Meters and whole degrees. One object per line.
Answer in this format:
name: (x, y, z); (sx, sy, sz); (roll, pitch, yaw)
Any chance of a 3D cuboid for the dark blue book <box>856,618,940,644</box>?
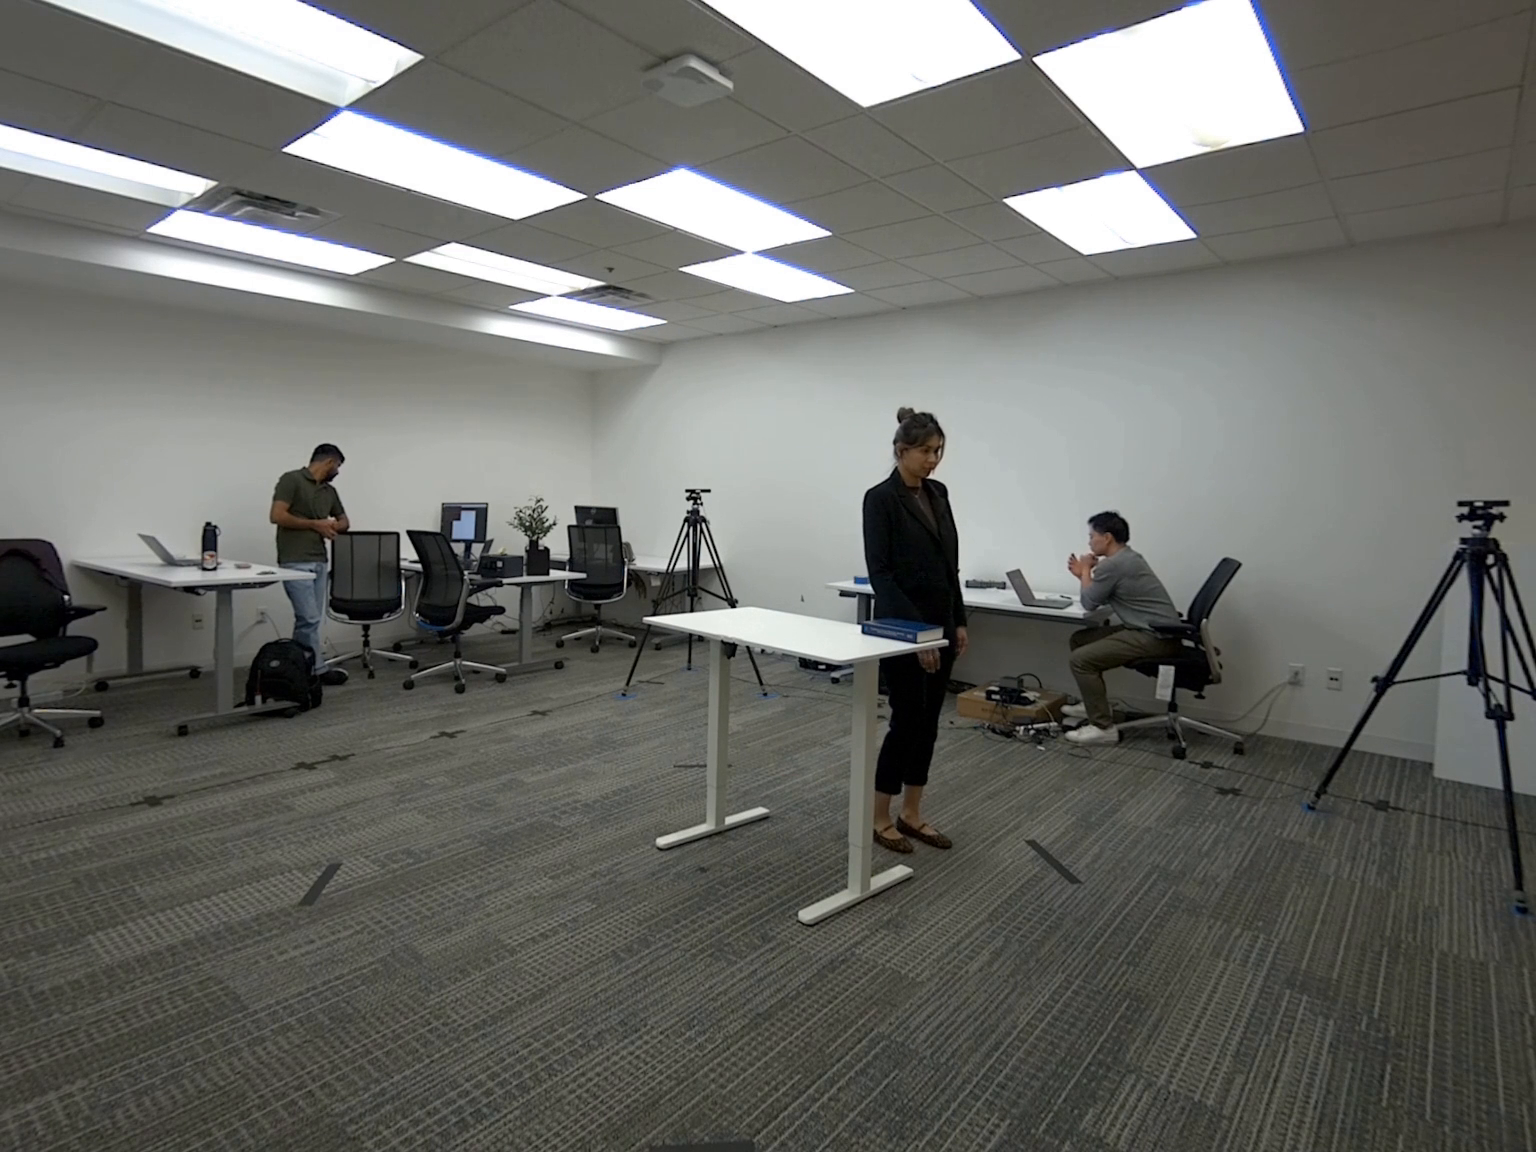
dark blue book: (0.466, 0.192, 3.036); (0.158, 0.045, 0.253); (-4, 8, -39)
